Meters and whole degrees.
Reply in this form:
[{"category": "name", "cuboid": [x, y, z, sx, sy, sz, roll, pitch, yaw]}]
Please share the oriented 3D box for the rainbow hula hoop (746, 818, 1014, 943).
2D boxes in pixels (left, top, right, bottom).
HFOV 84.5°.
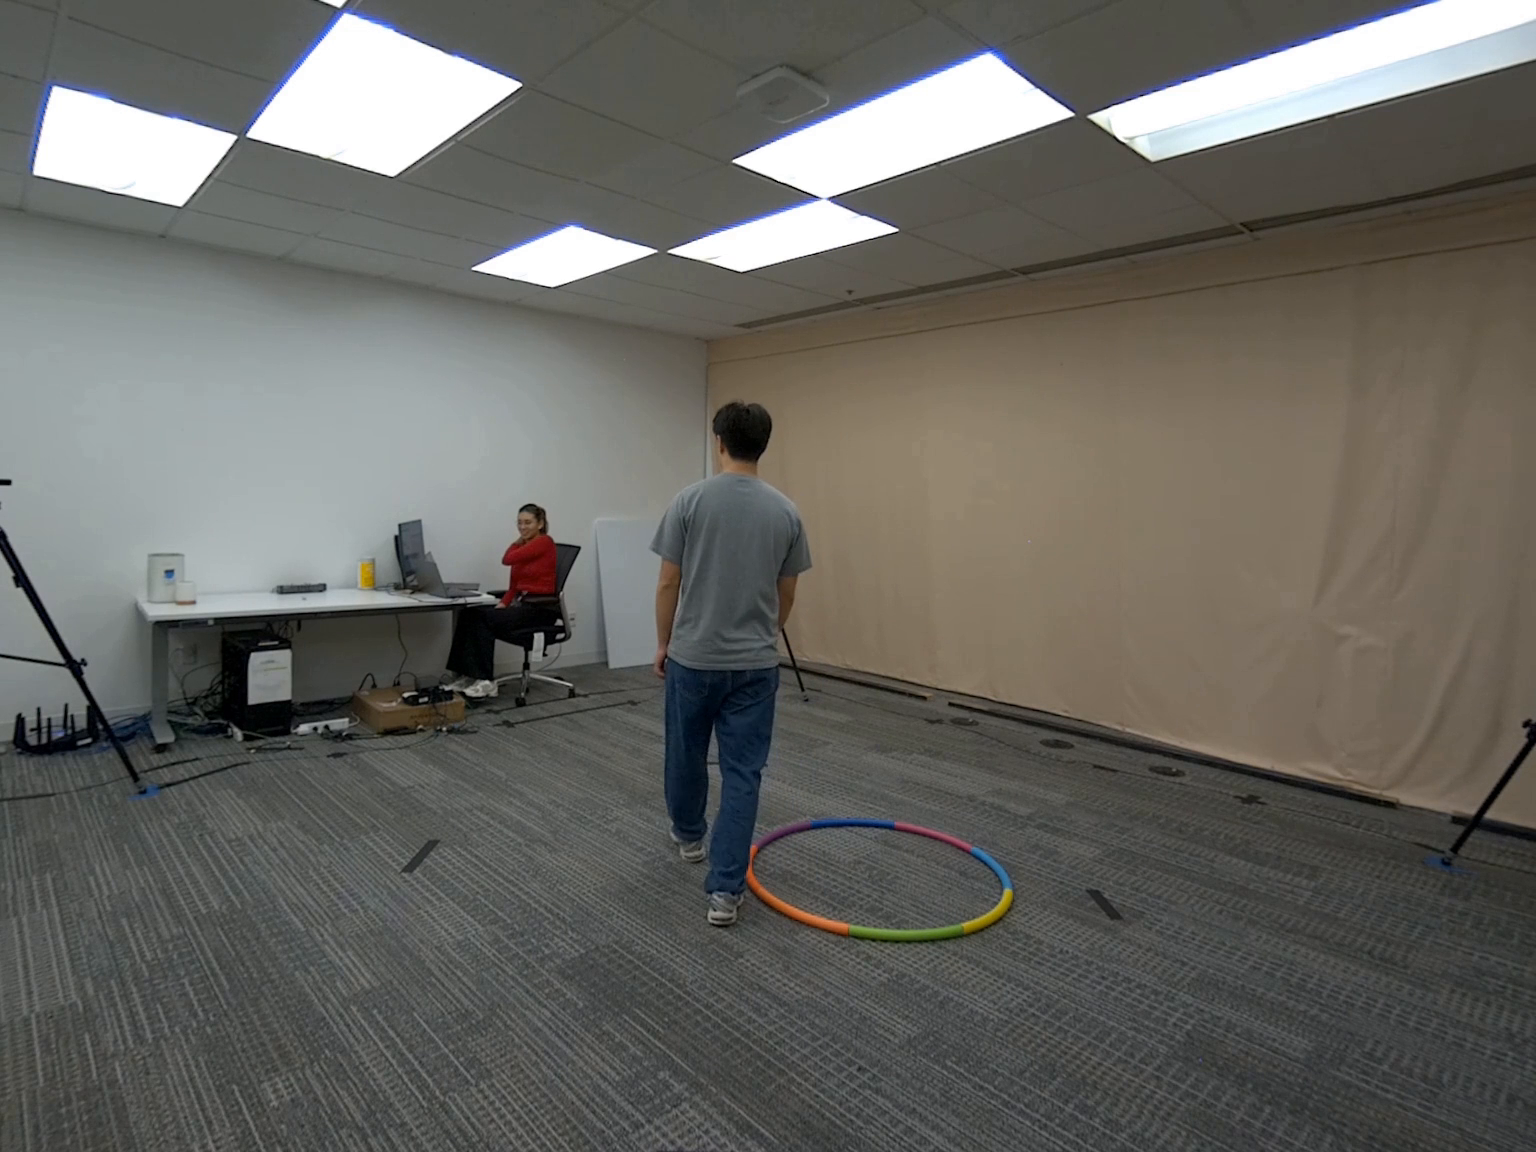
[{"category": "rainbow hula hoop", "cuboid": [0.376, 1.081, 3.151, 0.978, 0.035, 0.982, 1, 5, -1]}]
